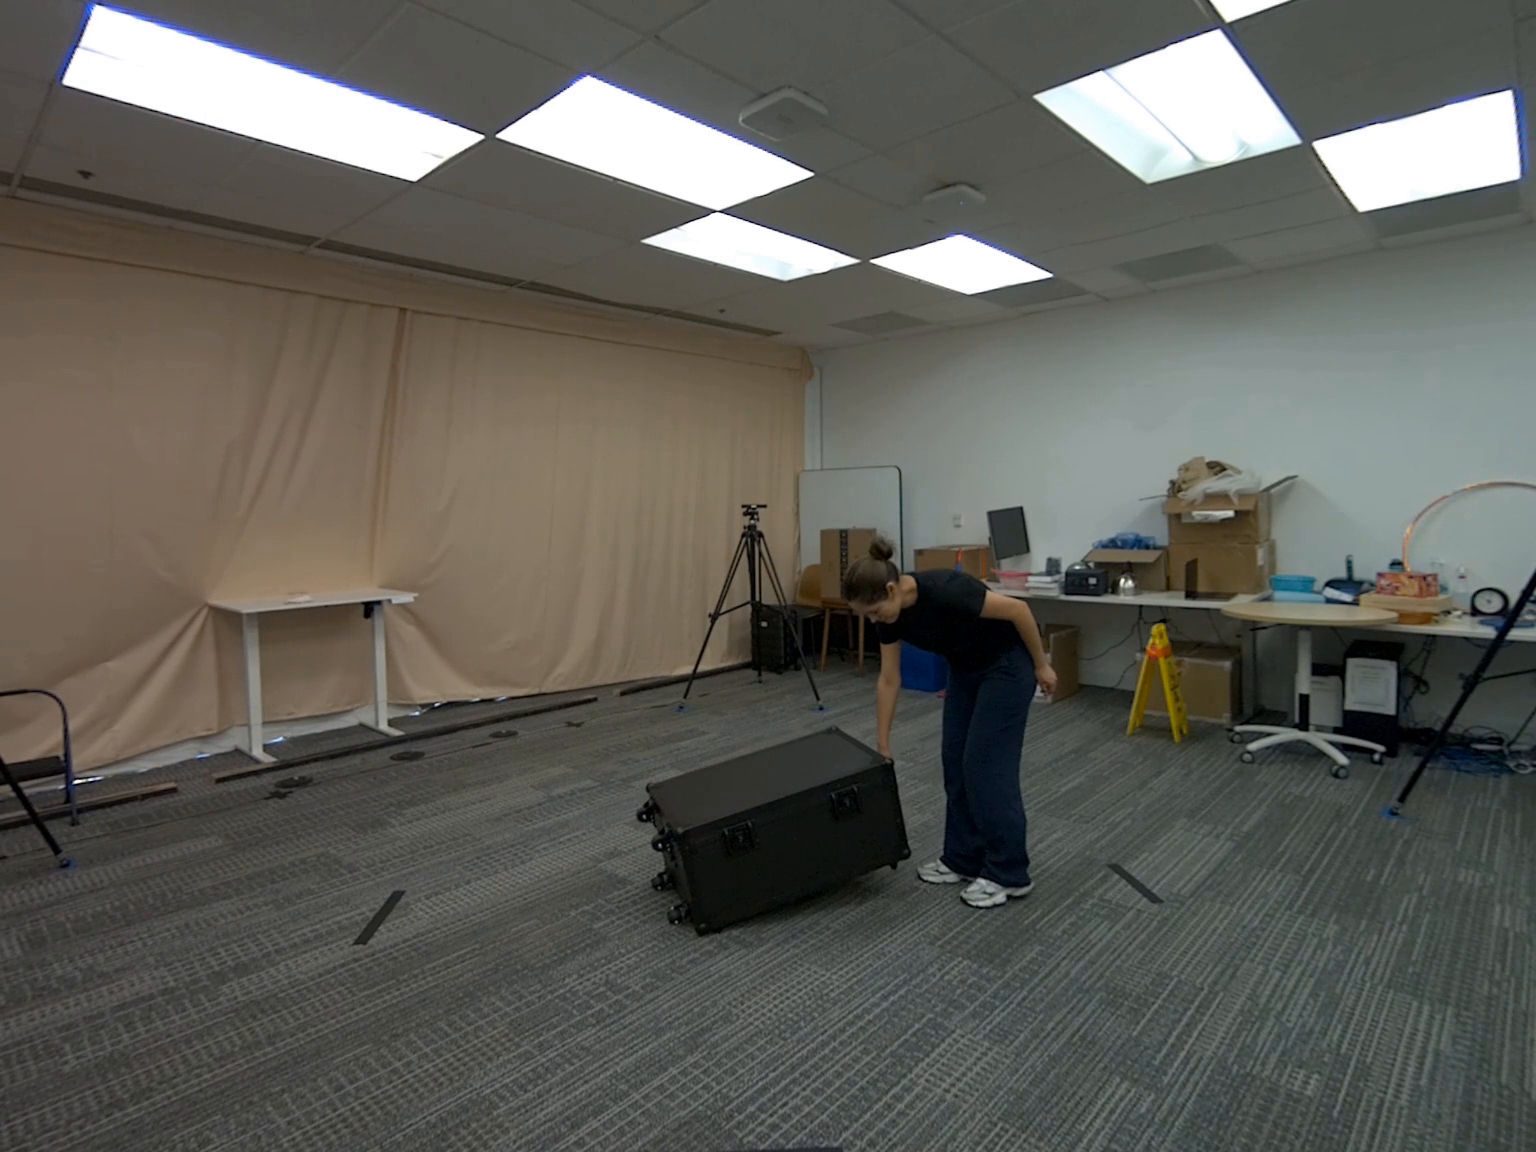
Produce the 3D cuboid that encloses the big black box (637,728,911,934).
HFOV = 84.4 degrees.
[{"bbox_3d":[0.011,0.891,3.021,0.849,0.394,0.532,-14,8,-17],"label":"big black box"}]
